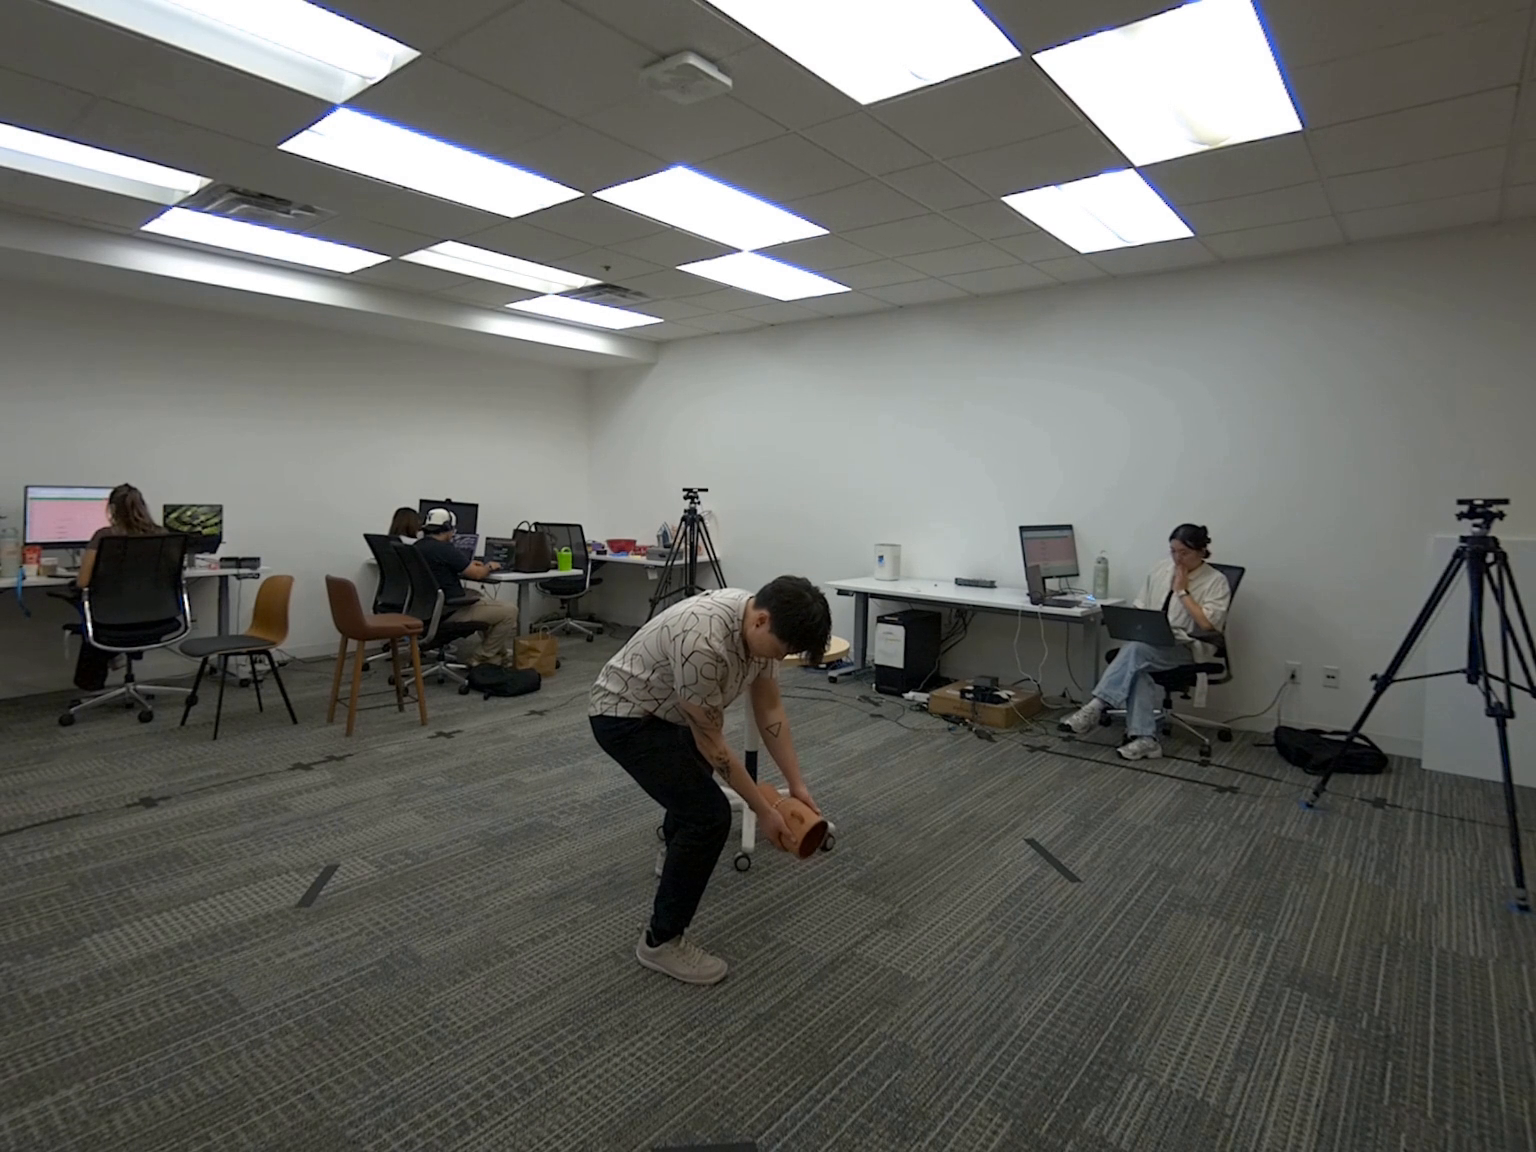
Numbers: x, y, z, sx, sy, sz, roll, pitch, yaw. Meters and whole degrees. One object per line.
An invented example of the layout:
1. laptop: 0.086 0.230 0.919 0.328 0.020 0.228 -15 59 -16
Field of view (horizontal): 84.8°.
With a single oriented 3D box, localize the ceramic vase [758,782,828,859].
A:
1. ceramic vase: 0.044 0.706 2.480 0.229 0.157 0.131 30 25 37
